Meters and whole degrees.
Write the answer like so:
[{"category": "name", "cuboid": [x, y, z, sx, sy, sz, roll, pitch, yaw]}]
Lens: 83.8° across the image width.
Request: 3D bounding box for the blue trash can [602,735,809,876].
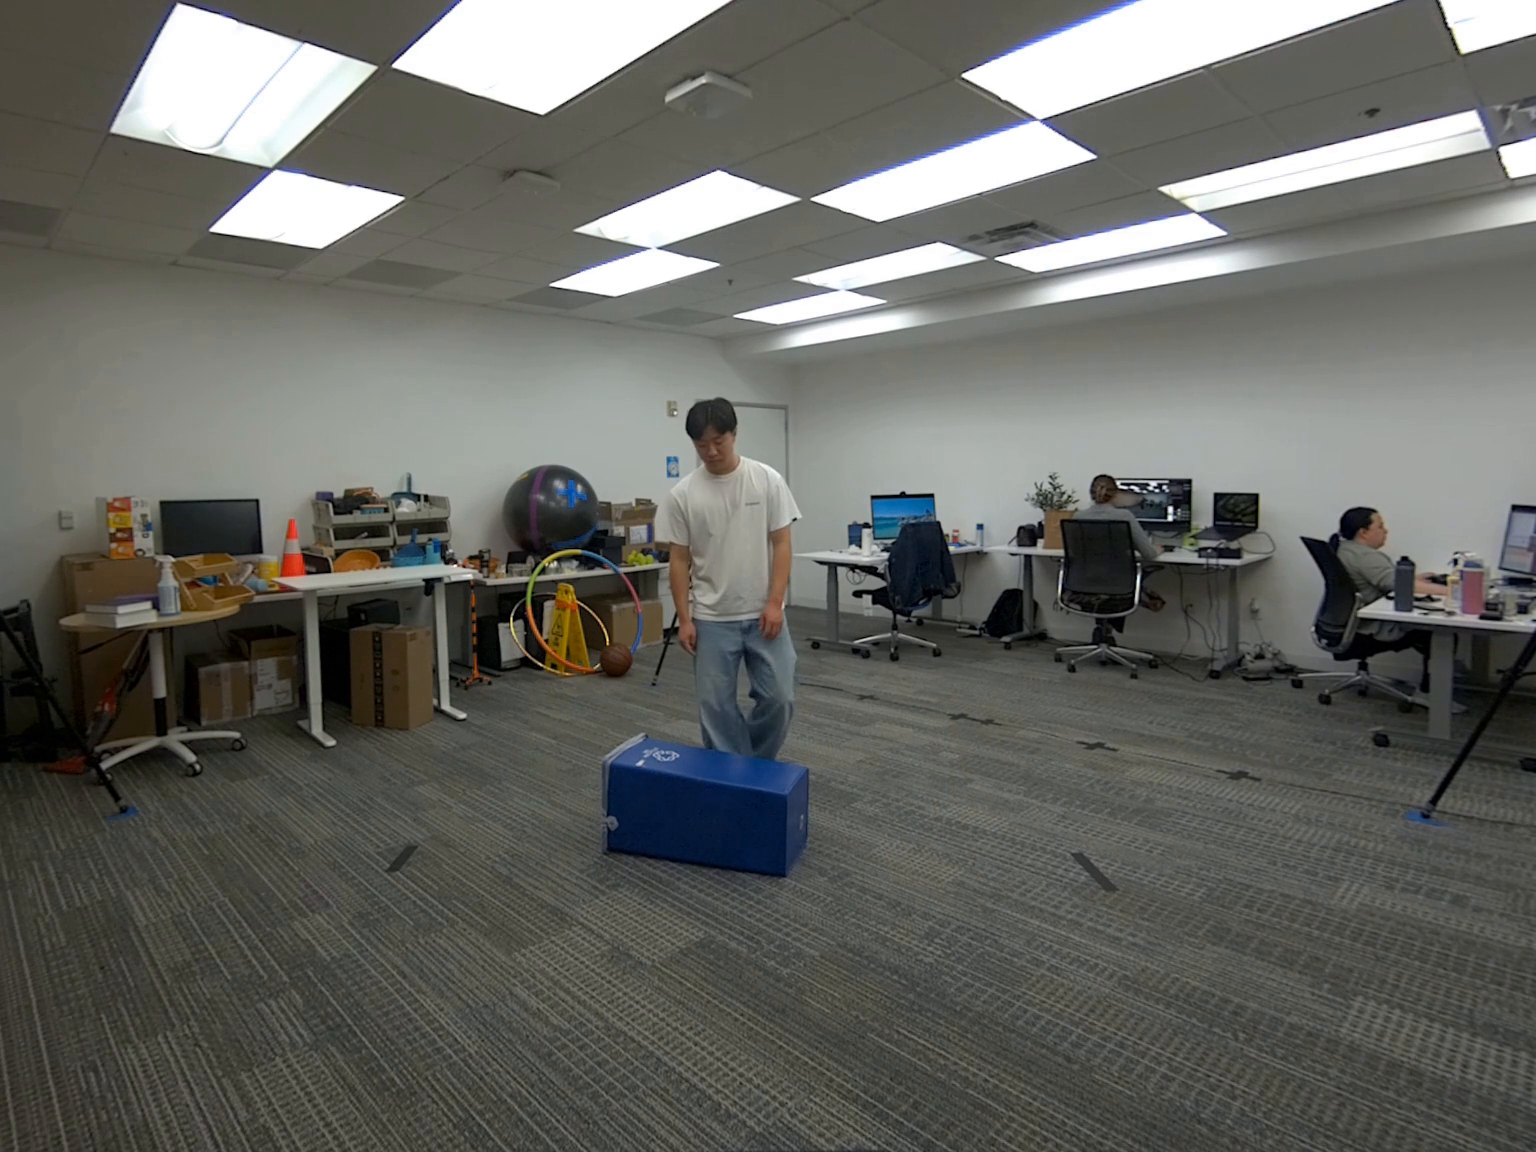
[{"category": "blue trash can", "cuboid": [-0.229, 0.863, 3.236, 0.728, 0.376, 0.368, 4, 6, 19]}]
